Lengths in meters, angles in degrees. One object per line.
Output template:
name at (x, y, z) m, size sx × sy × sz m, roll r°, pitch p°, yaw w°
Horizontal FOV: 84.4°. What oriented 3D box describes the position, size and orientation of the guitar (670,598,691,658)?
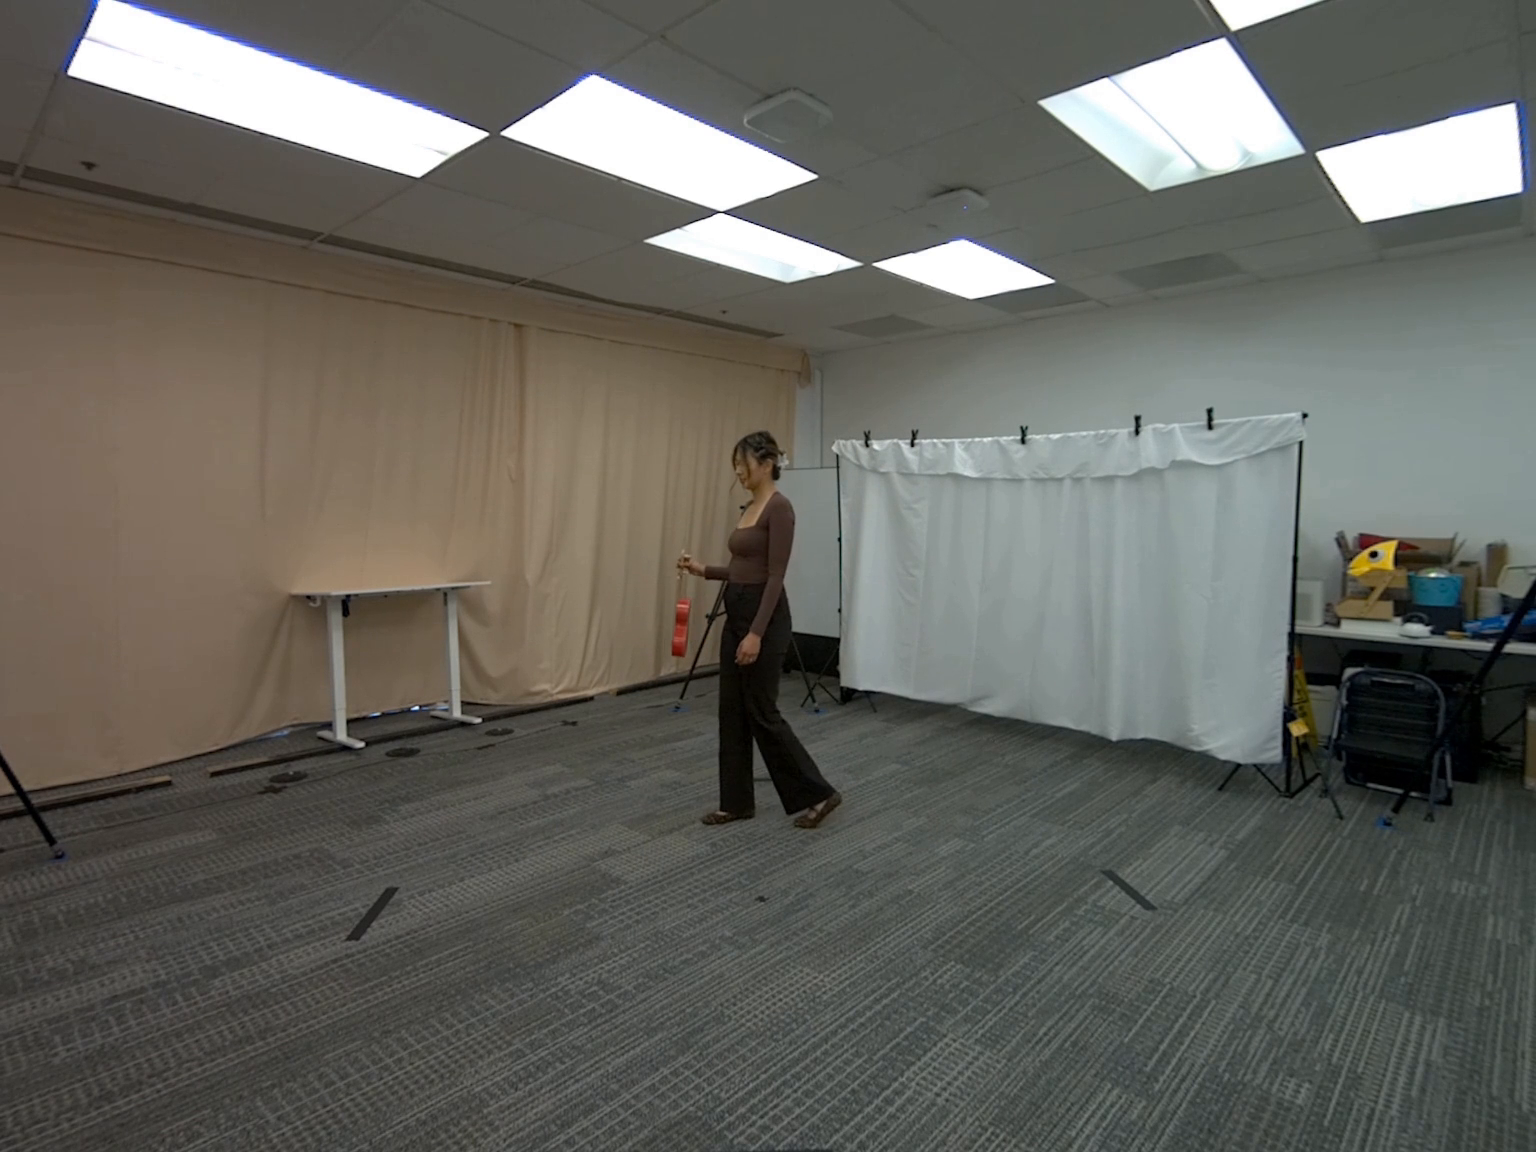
guitar at (-0.400, 0.141, 3.952) m, size 0.071 × 0.494 × 0.193 m, roll 2°, pitch 11°, yaw 2°
